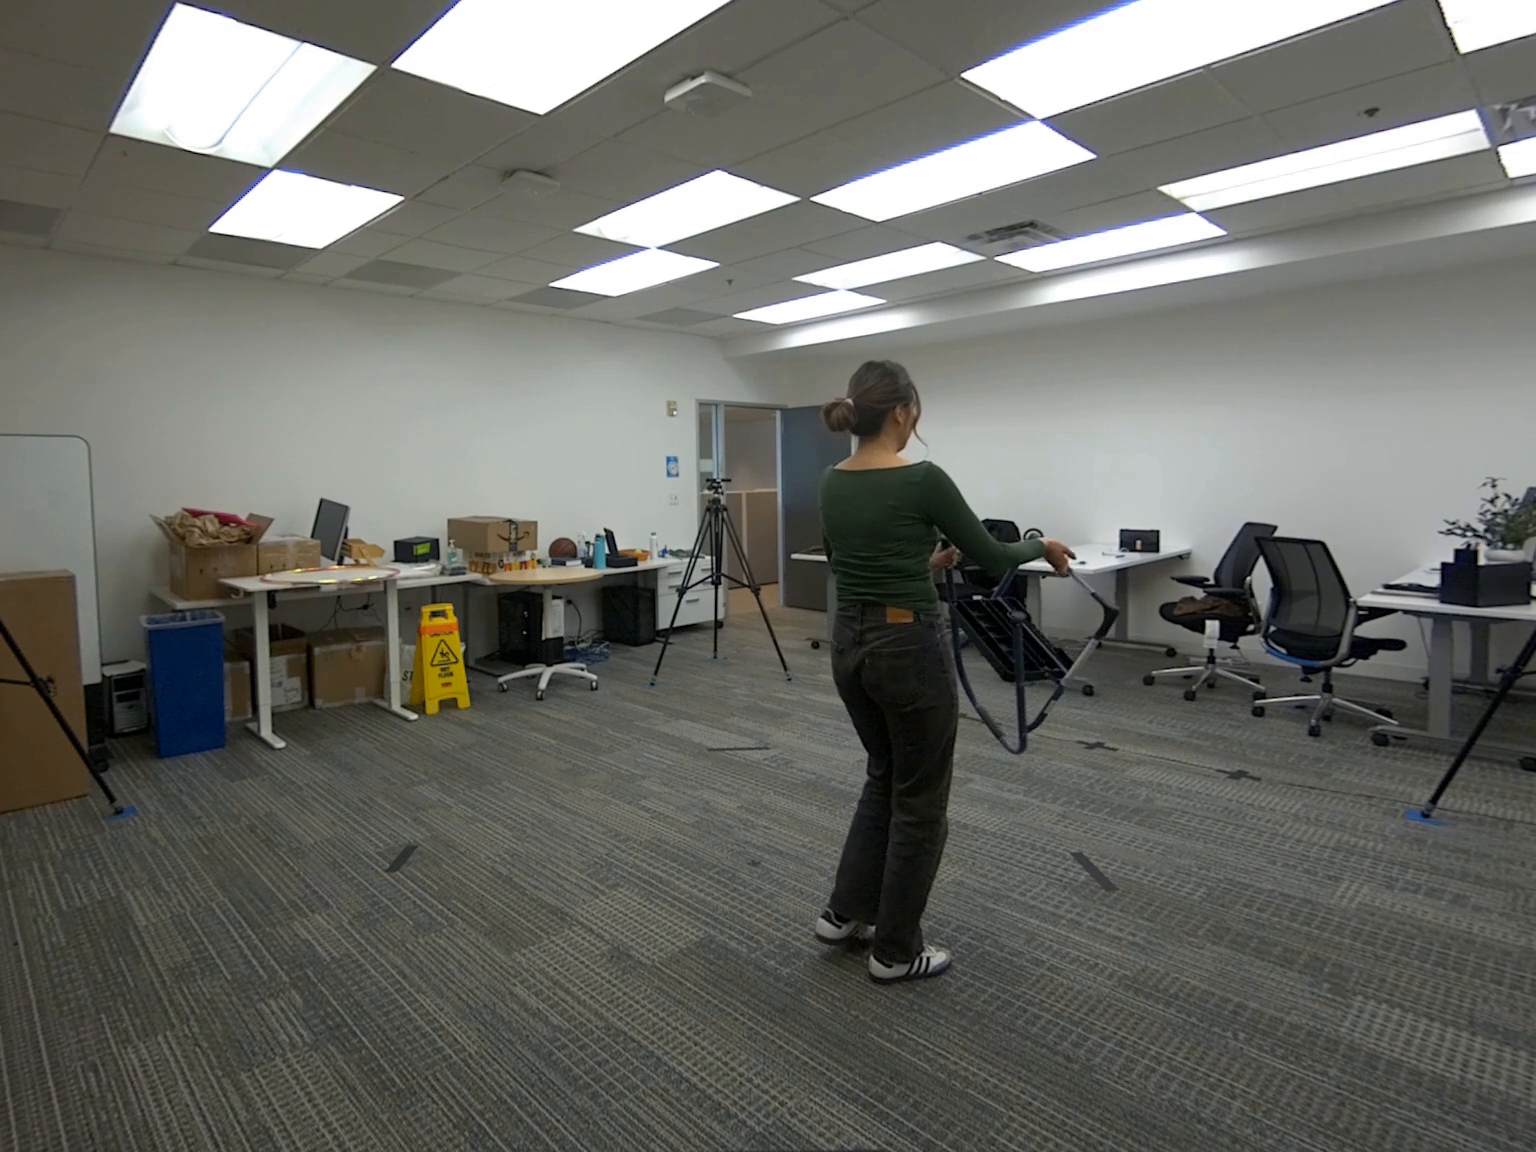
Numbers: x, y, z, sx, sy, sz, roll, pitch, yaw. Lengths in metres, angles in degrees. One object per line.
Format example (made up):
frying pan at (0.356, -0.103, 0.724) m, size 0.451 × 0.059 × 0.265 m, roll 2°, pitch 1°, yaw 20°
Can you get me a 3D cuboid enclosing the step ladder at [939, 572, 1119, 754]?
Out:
step ladder at (0.692, 0.233, 2.580) m, size 0.344 × 0.594 × 0.446 m, roll -2°, pitch 34°, yaw -17°
